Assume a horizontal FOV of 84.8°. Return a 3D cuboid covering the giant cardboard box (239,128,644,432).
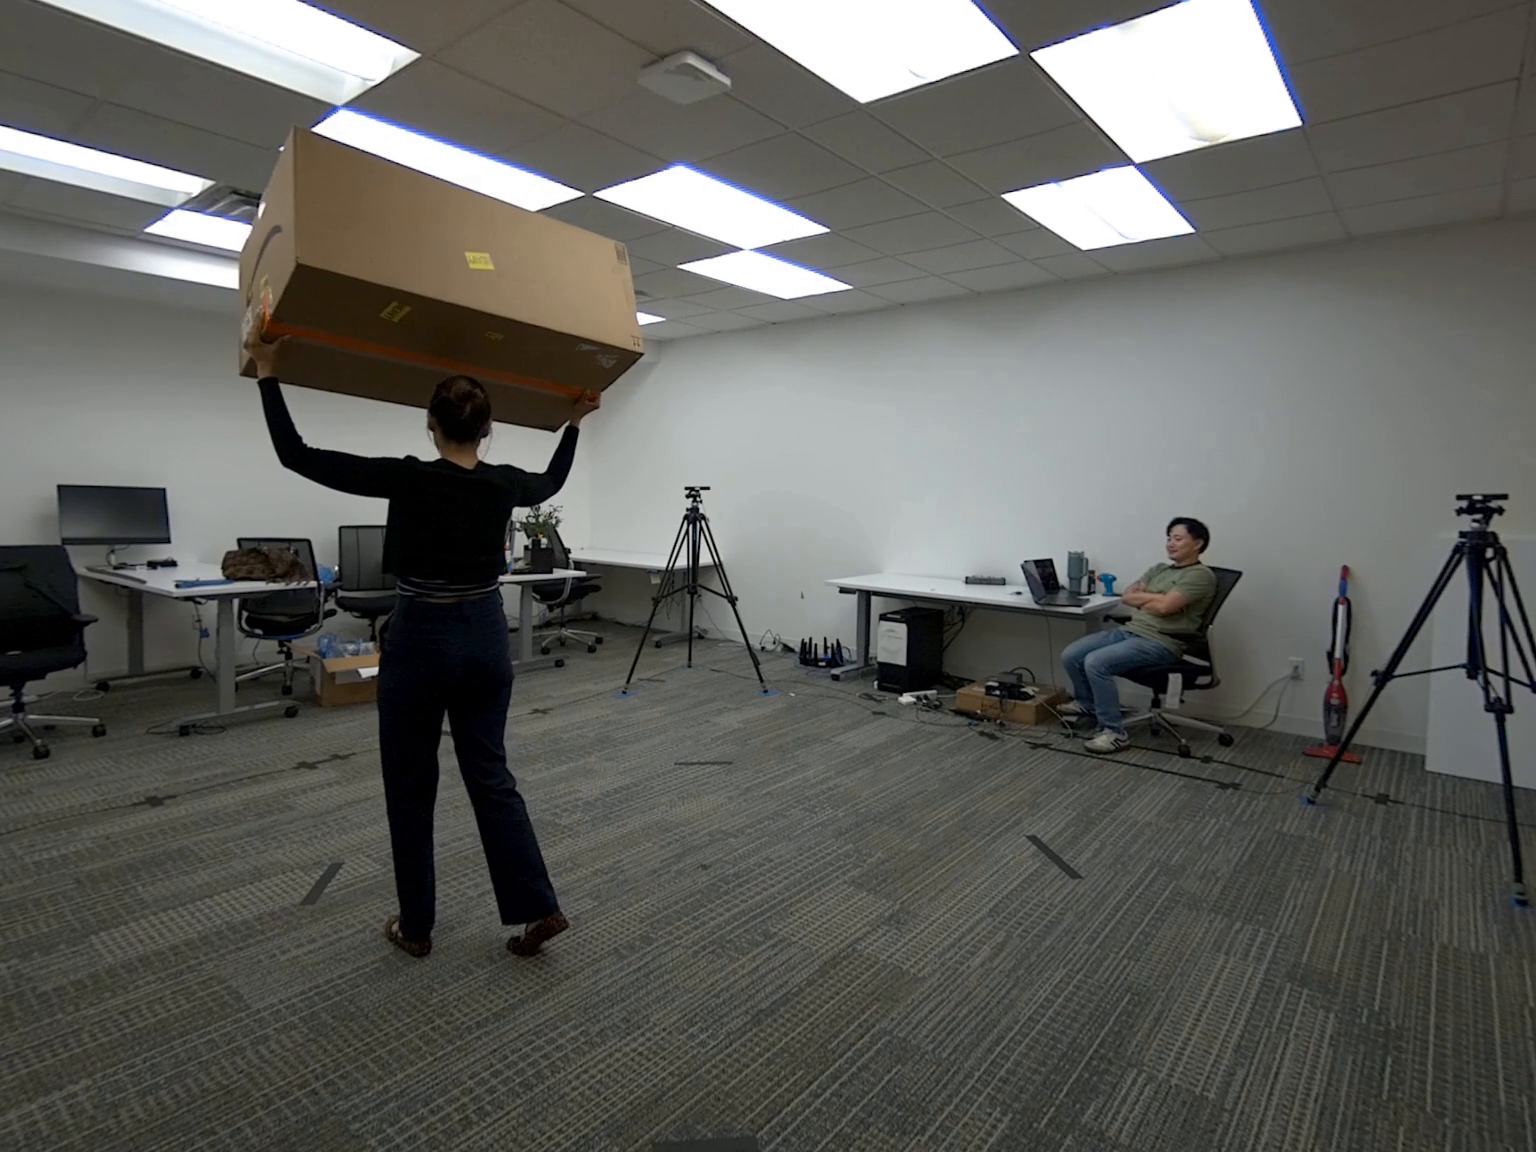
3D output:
[{"bbox_3d":[-0.987,-0.819,2.603,0.992,0.434,0.586,3,-21,-42],"label":"giant cardboard box"}]
